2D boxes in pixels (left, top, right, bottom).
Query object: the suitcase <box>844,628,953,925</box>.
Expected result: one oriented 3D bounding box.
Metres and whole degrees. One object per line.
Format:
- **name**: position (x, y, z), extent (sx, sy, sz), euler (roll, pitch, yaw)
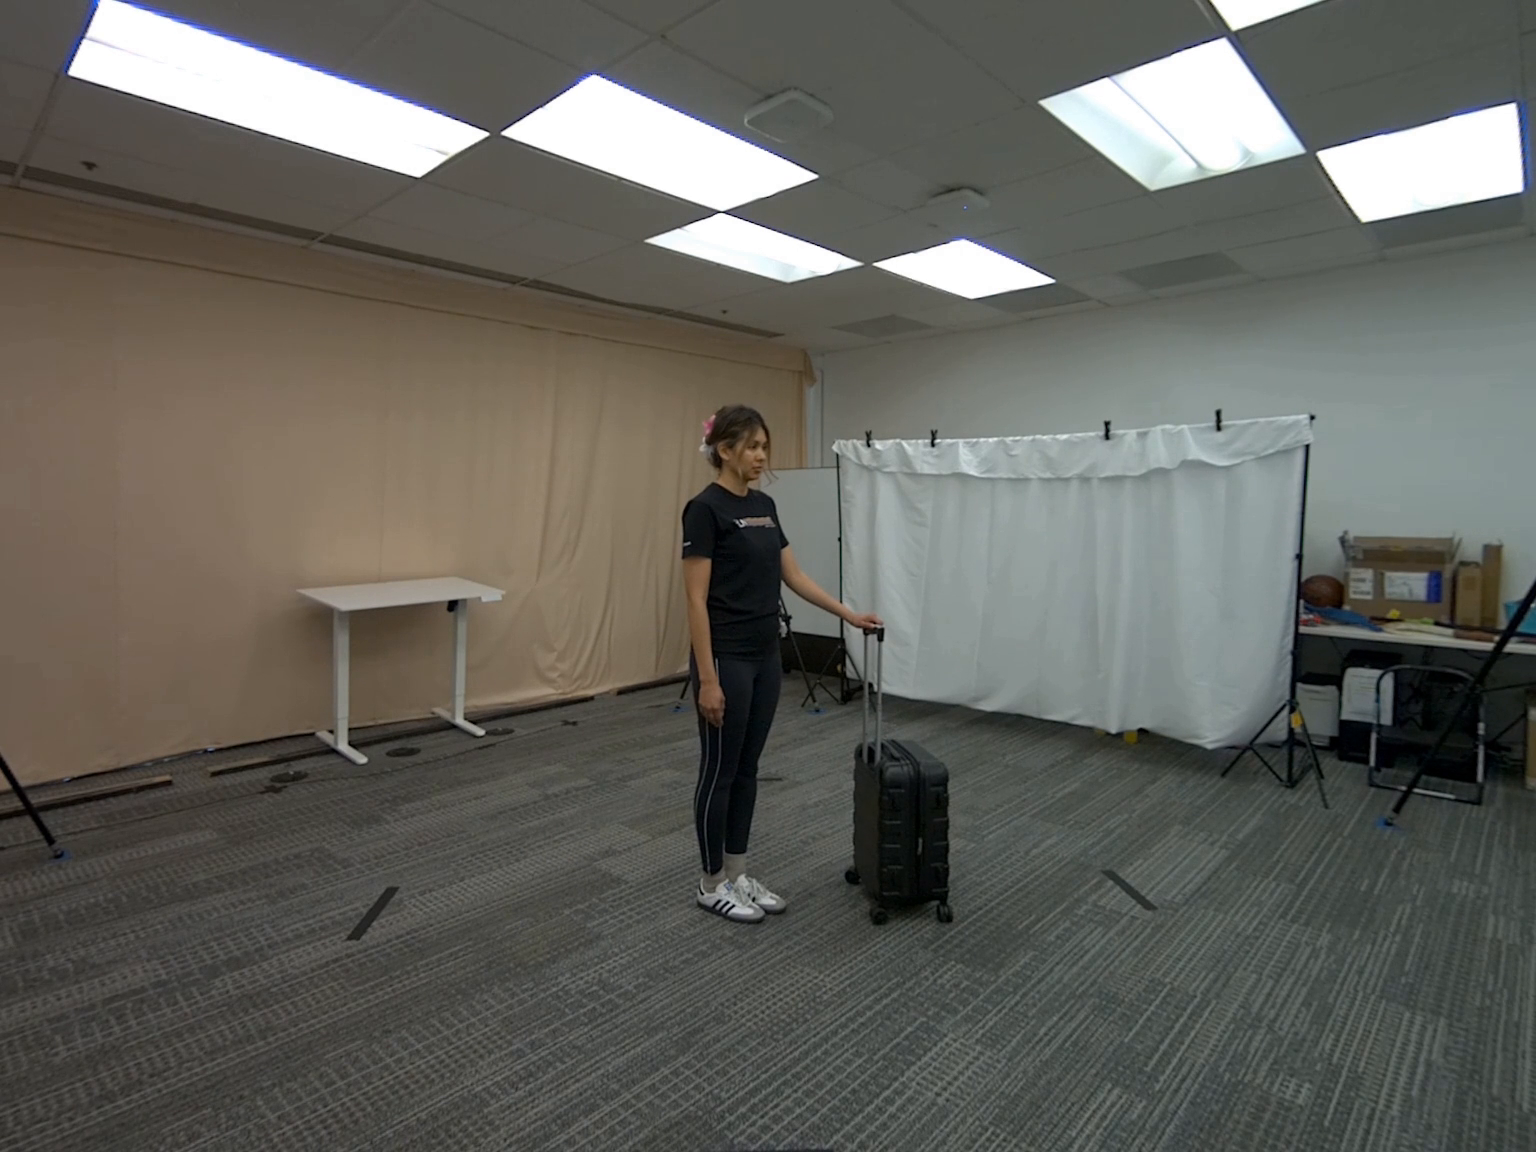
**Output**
- **suitcase**: position (0.473, 0.669, 2.946), extent (0.255, 0.977, 0.387), euler (3, 3, -8)
